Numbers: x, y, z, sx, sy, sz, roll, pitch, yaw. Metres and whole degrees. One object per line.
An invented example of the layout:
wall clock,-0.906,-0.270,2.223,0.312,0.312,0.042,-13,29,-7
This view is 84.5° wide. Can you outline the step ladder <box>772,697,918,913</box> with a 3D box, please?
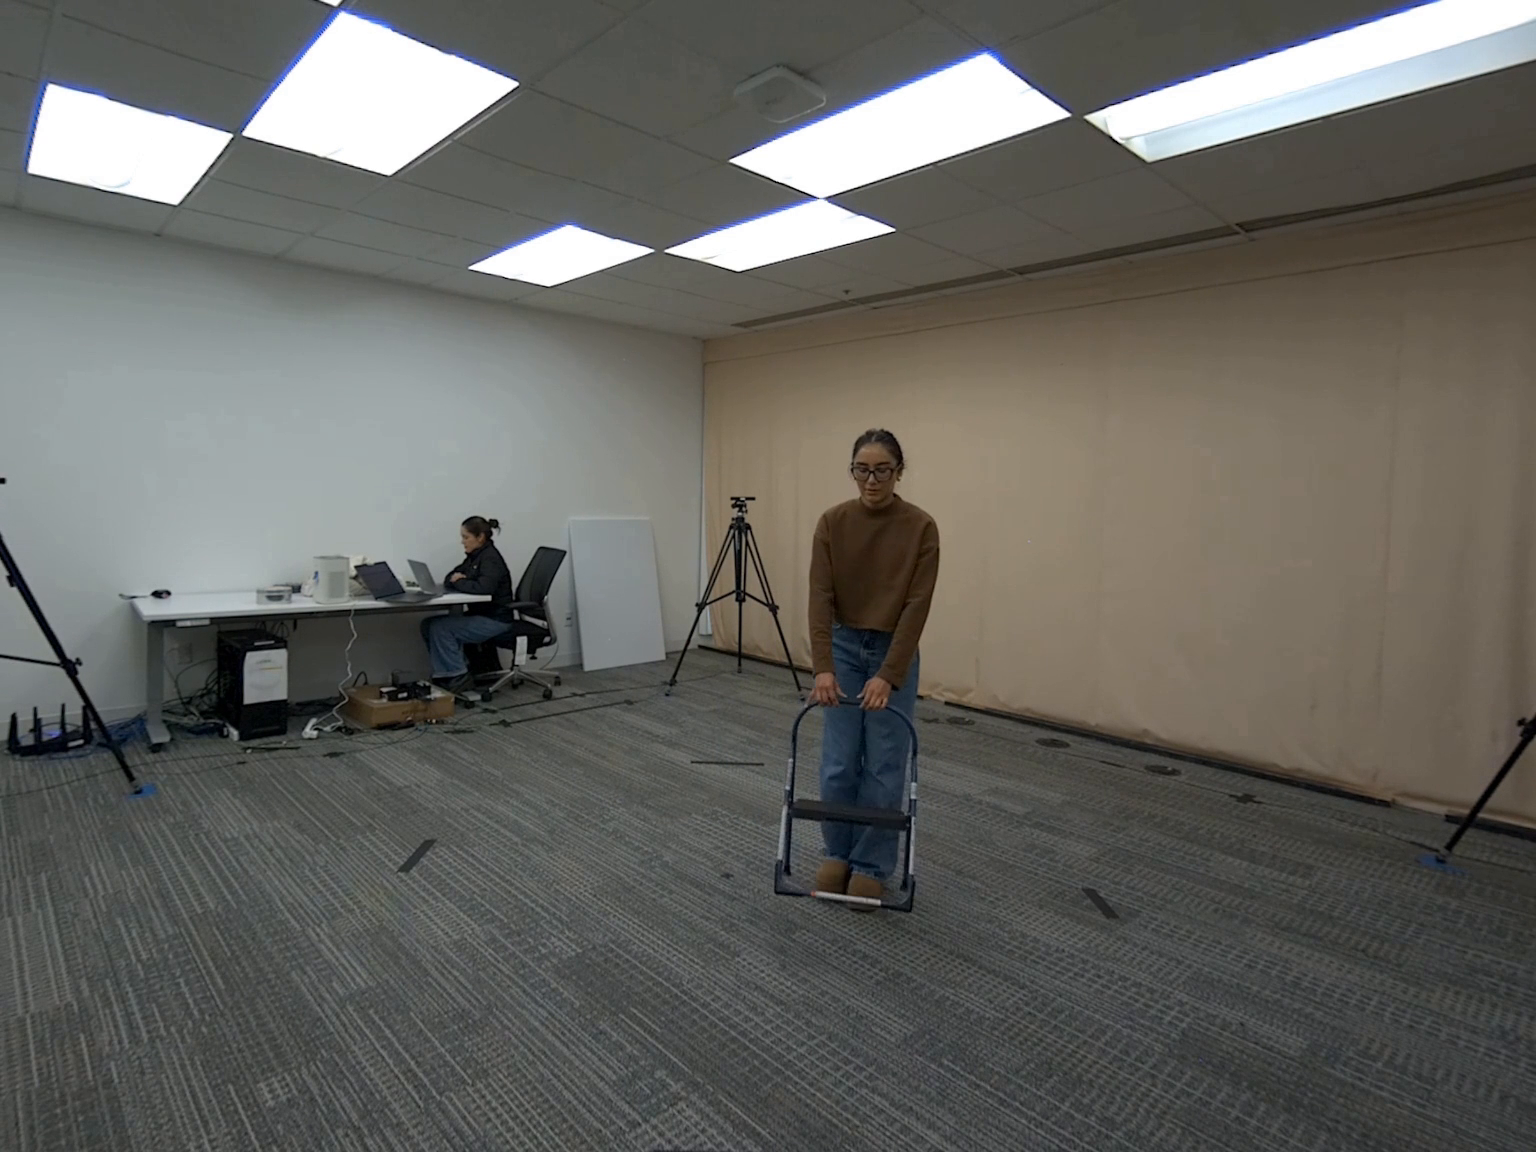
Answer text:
step ladder,0.259,0.711,2.721,0.434,0.610,0.344,3,-9,9
